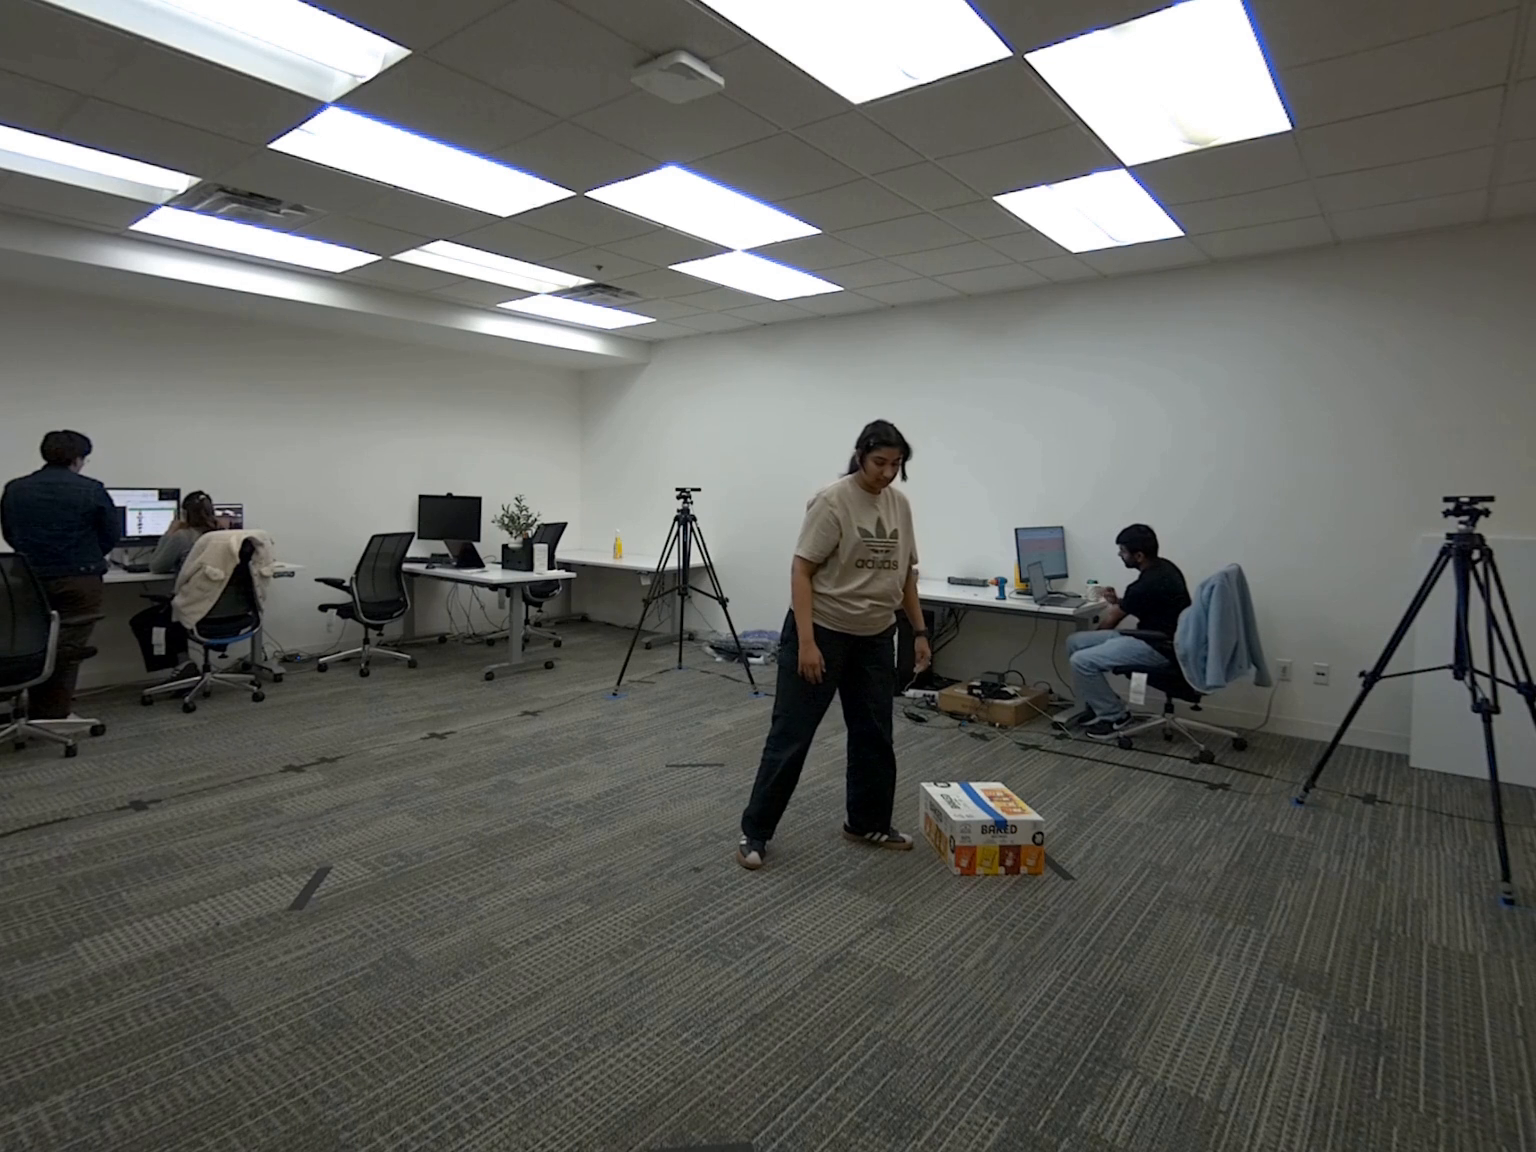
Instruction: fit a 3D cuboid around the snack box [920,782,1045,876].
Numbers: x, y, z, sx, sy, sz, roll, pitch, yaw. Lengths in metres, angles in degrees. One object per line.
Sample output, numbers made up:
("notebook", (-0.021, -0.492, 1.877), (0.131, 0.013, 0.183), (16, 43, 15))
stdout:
("snack box", (0.814, 0.974, 3.309), (0.338, 0.205, 0.409), (1, 5, -6))
